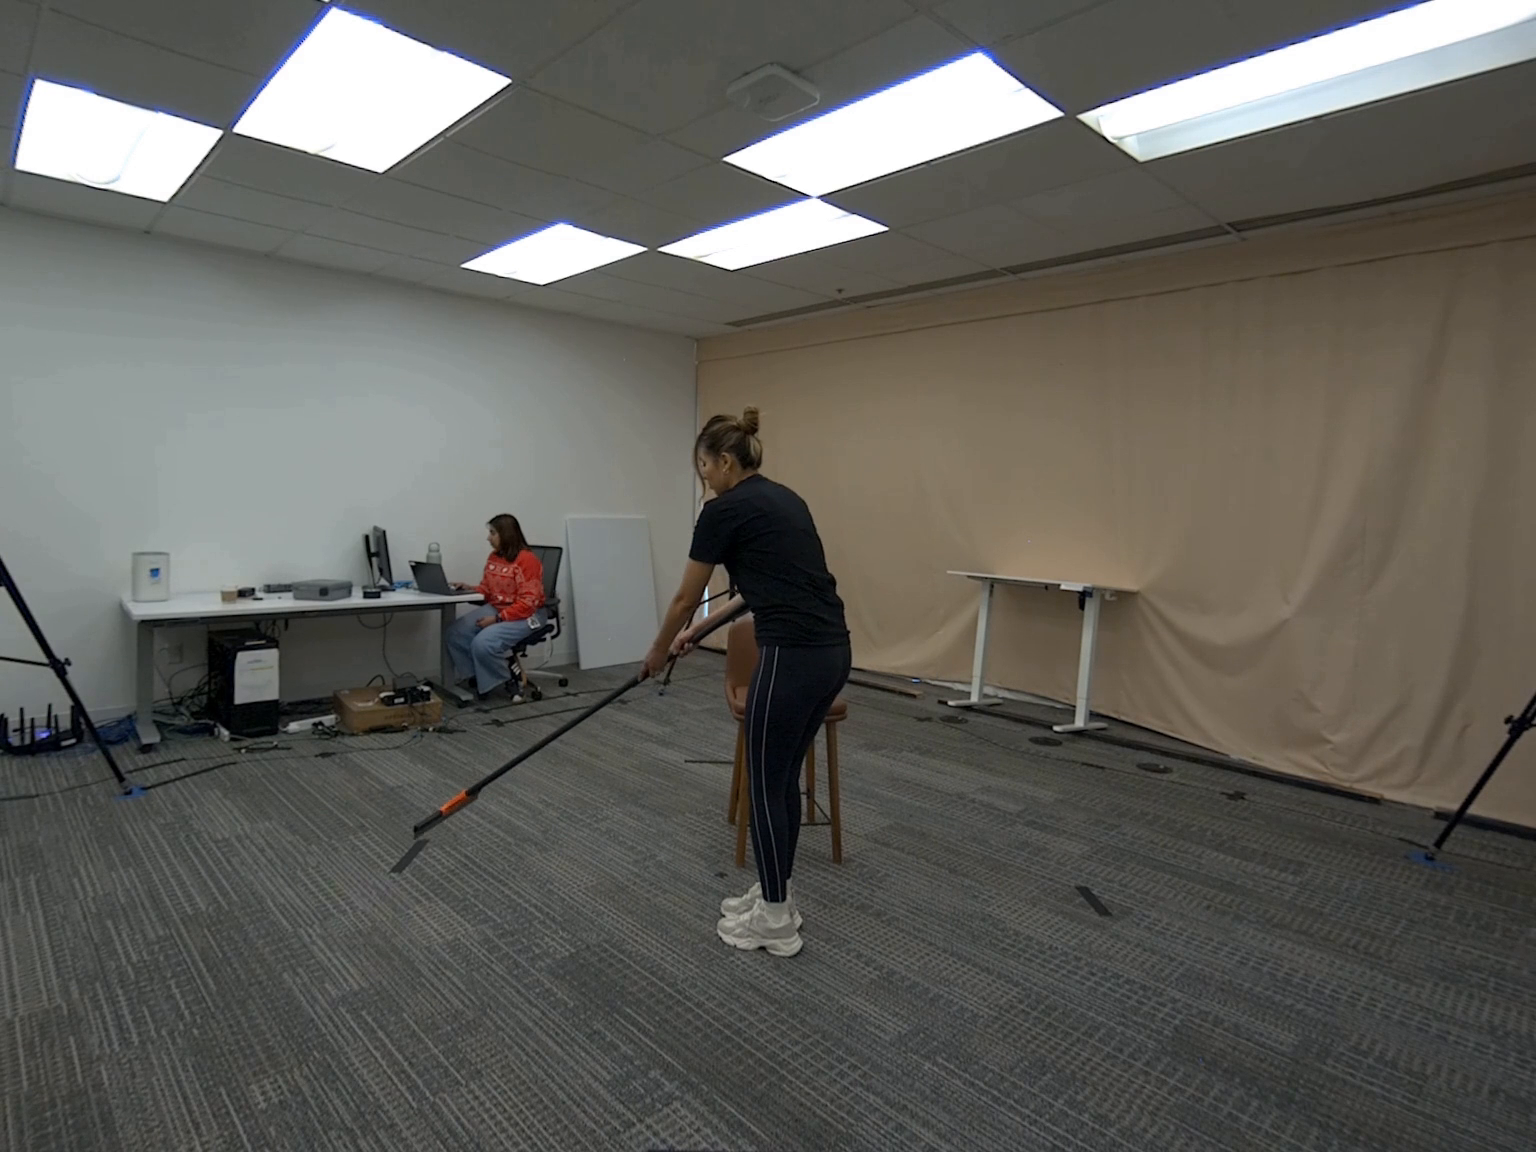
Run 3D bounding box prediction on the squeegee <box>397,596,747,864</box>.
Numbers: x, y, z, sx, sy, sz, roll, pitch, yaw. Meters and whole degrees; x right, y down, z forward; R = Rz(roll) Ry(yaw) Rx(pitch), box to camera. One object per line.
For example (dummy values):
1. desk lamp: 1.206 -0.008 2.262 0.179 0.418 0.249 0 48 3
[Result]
1. squeegee: -0.619 0.471 2.926 1.542 0.053 0.436 -35 2 13
